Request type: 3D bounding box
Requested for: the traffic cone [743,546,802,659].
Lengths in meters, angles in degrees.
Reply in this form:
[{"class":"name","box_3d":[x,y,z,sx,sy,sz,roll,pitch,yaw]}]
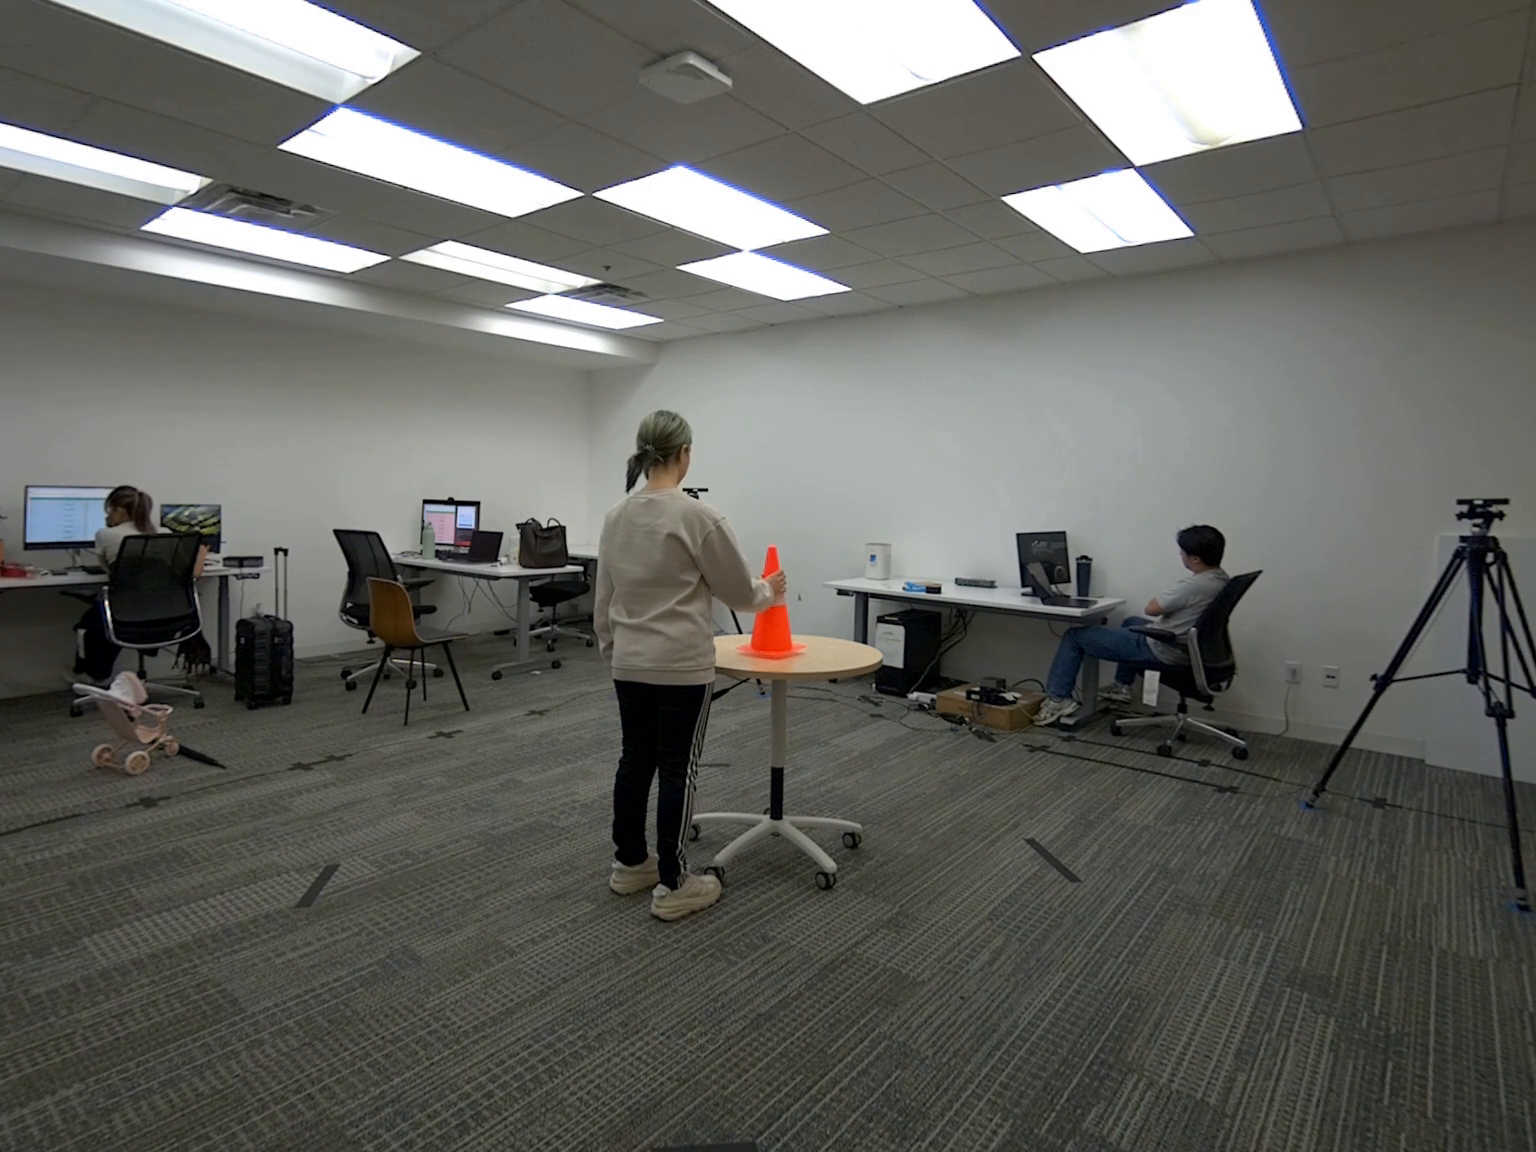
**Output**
[{"class":"traffic cone","box_3d":[0.004,0.076,3.140,0.210,0.382,0.199,2,6,24]}]
